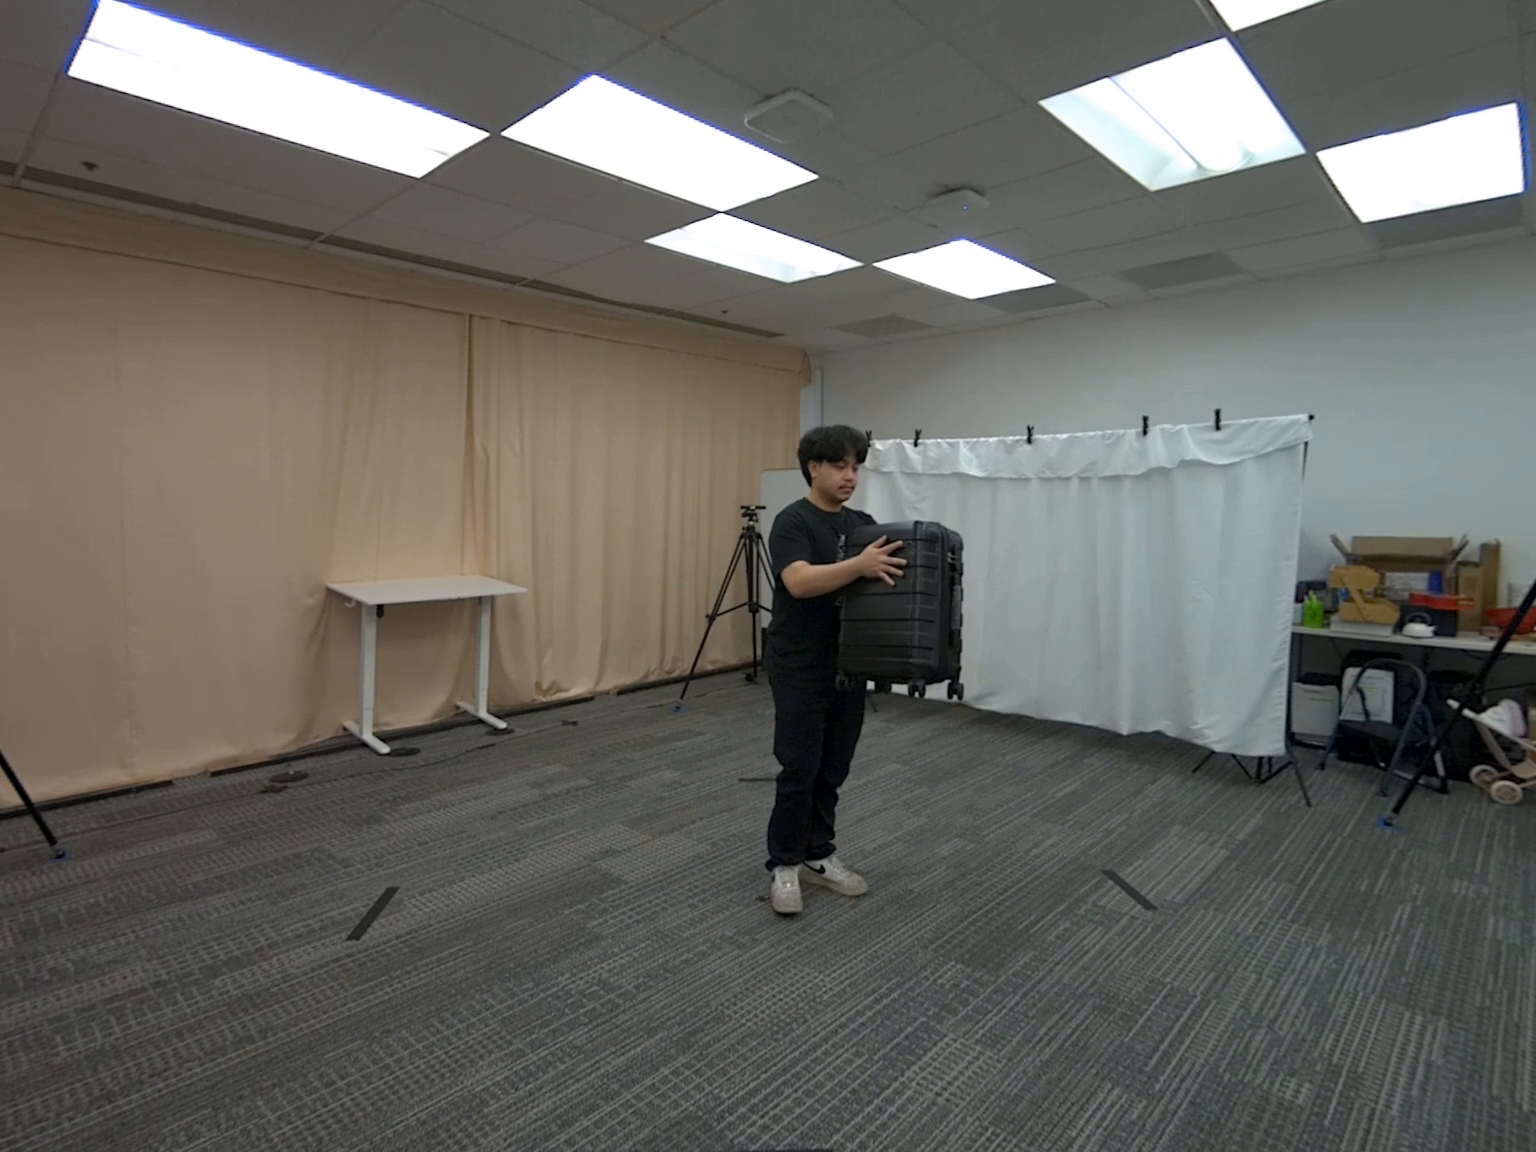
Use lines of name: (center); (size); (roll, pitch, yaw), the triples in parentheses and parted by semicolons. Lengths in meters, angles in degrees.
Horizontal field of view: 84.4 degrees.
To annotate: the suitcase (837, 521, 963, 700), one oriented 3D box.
suitcase: (0.437, 0.100, 2.680); (0.240, 0.551, 0.387); (9, -9, -41)
